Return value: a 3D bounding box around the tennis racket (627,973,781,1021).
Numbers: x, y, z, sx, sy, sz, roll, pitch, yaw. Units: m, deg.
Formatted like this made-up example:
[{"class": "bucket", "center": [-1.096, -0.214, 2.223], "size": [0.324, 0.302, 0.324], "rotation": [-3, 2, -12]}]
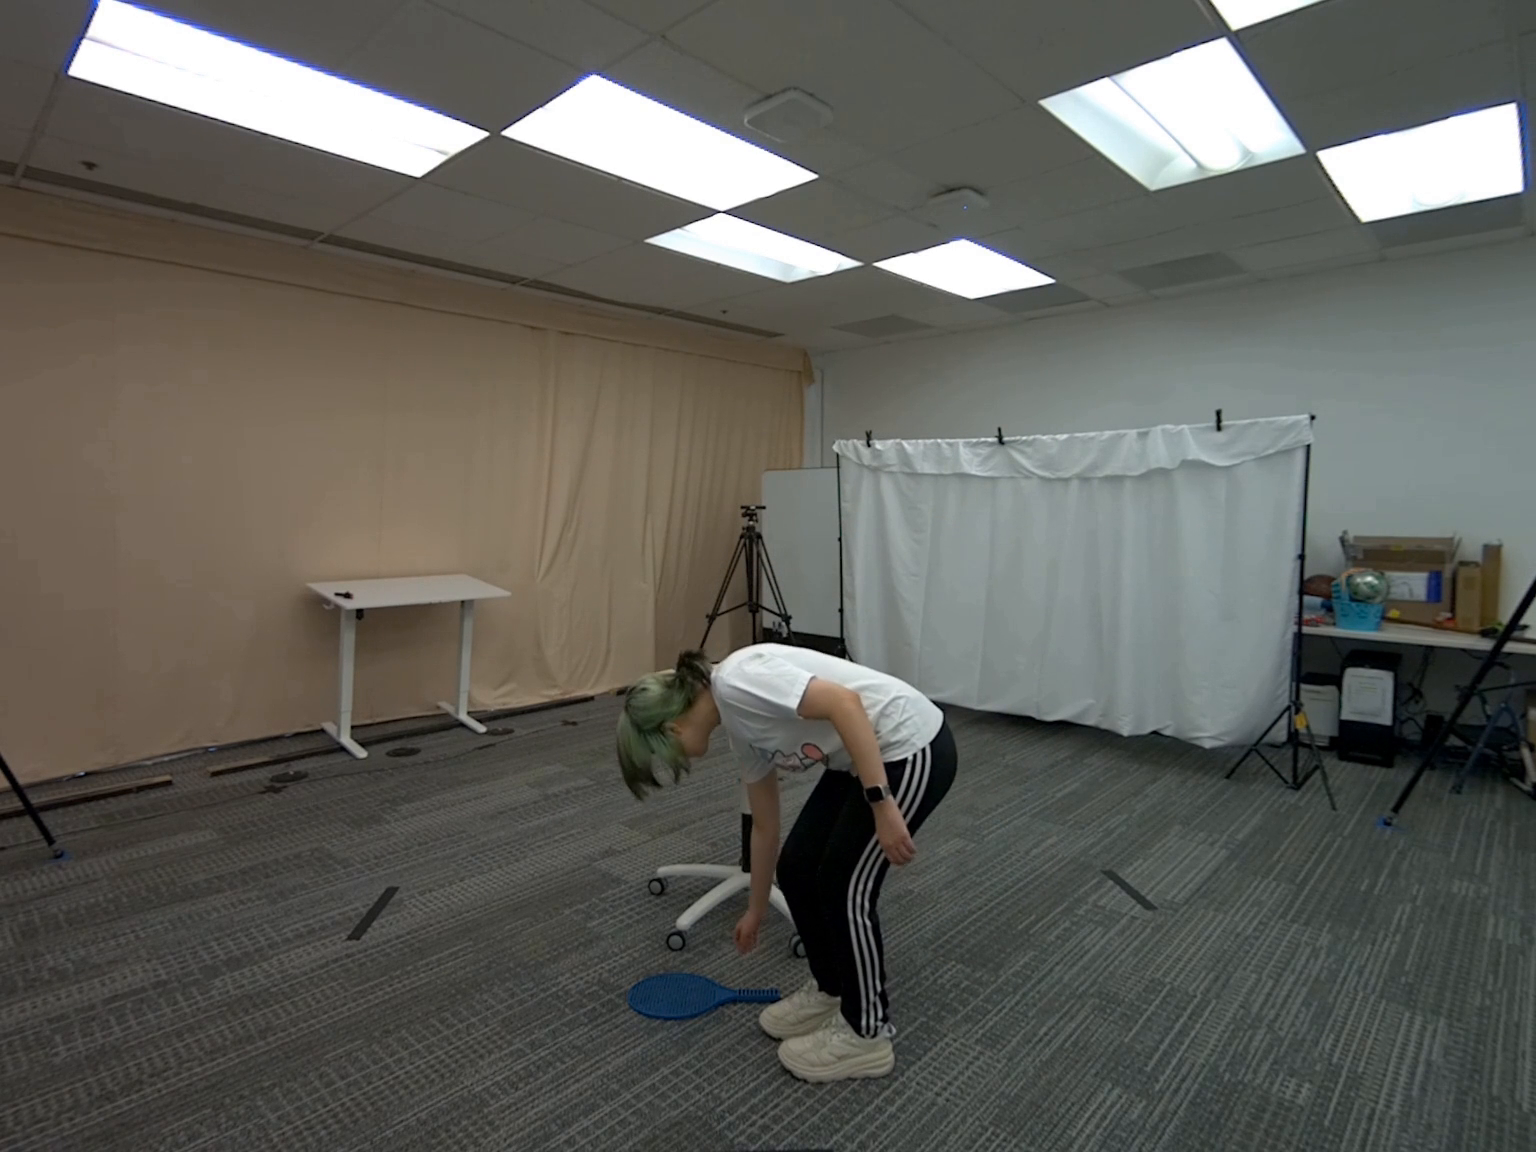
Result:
[{"class": "tennis racket", "center": [-0.179, 1.179, 2.379], "size": [0.434, 0.032, 0.213], "rotation": [-1, 4, 3]}]
